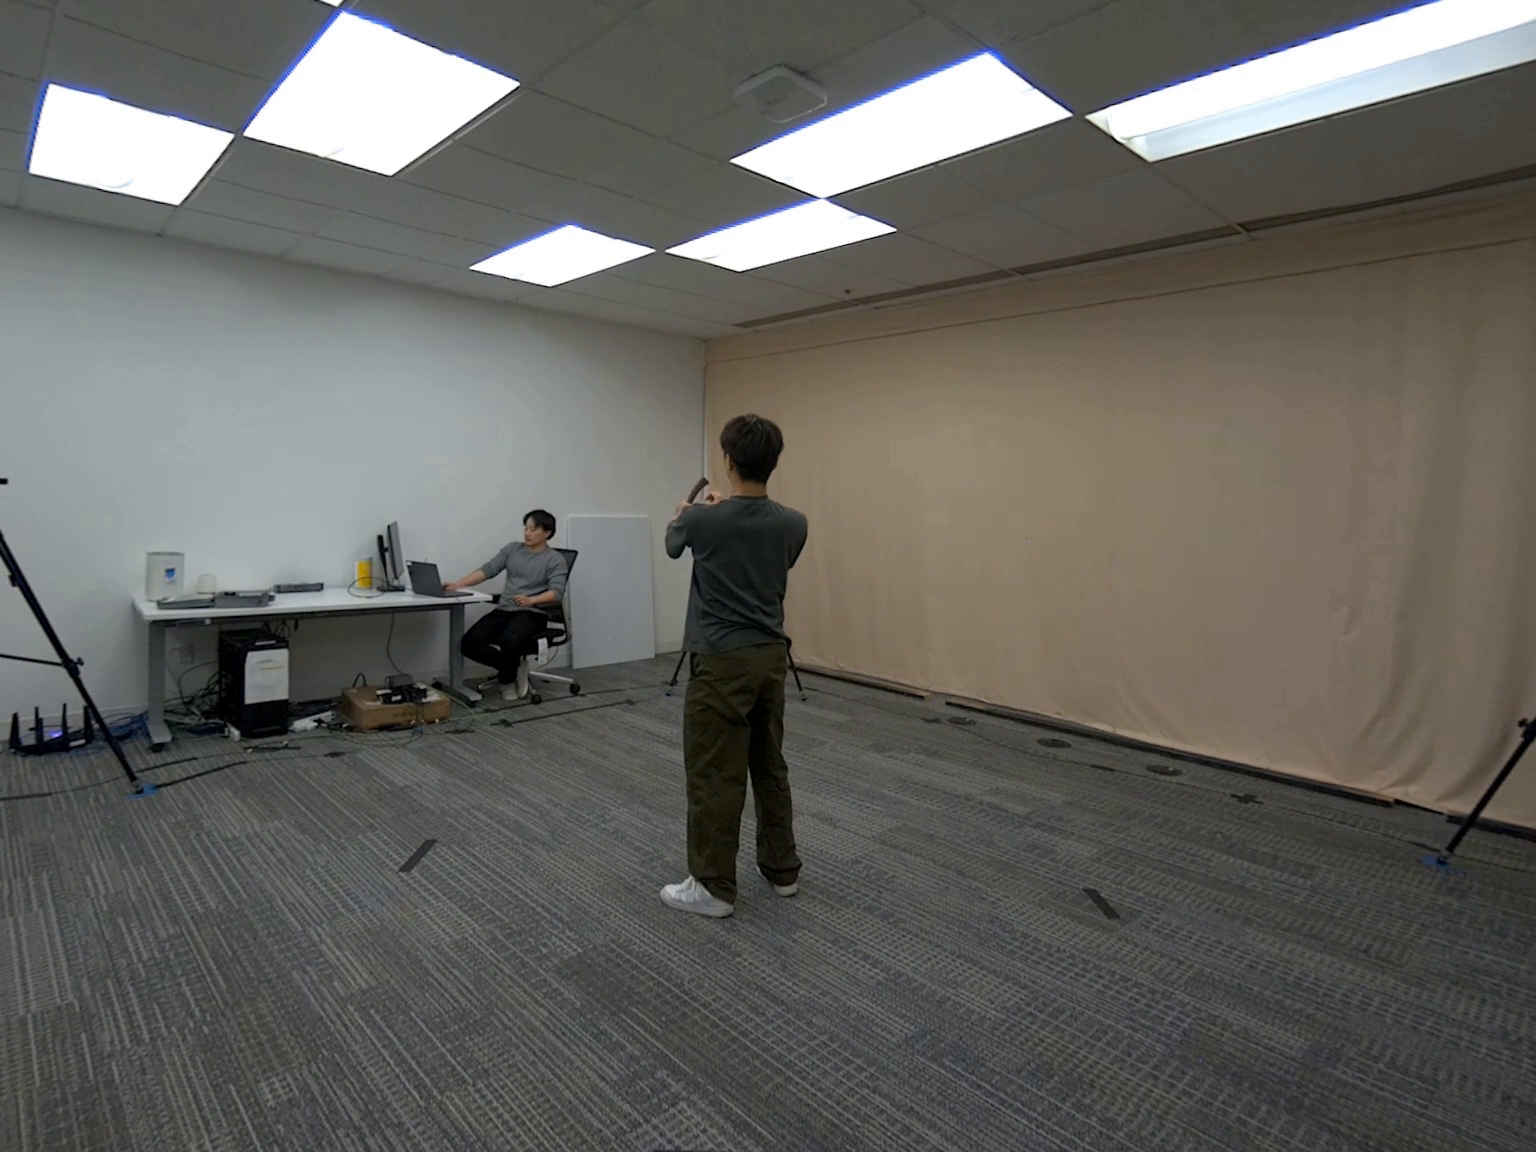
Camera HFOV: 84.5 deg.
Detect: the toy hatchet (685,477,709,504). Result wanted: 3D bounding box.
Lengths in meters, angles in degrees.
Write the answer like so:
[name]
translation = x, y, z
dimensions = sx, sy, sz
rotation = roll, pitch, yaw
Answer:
[toy hatchet]
translation = -0.282, -0.251, 3.342
dimensions = 0.130, 0.270, 0.030
rotation = 34, -9, -6
